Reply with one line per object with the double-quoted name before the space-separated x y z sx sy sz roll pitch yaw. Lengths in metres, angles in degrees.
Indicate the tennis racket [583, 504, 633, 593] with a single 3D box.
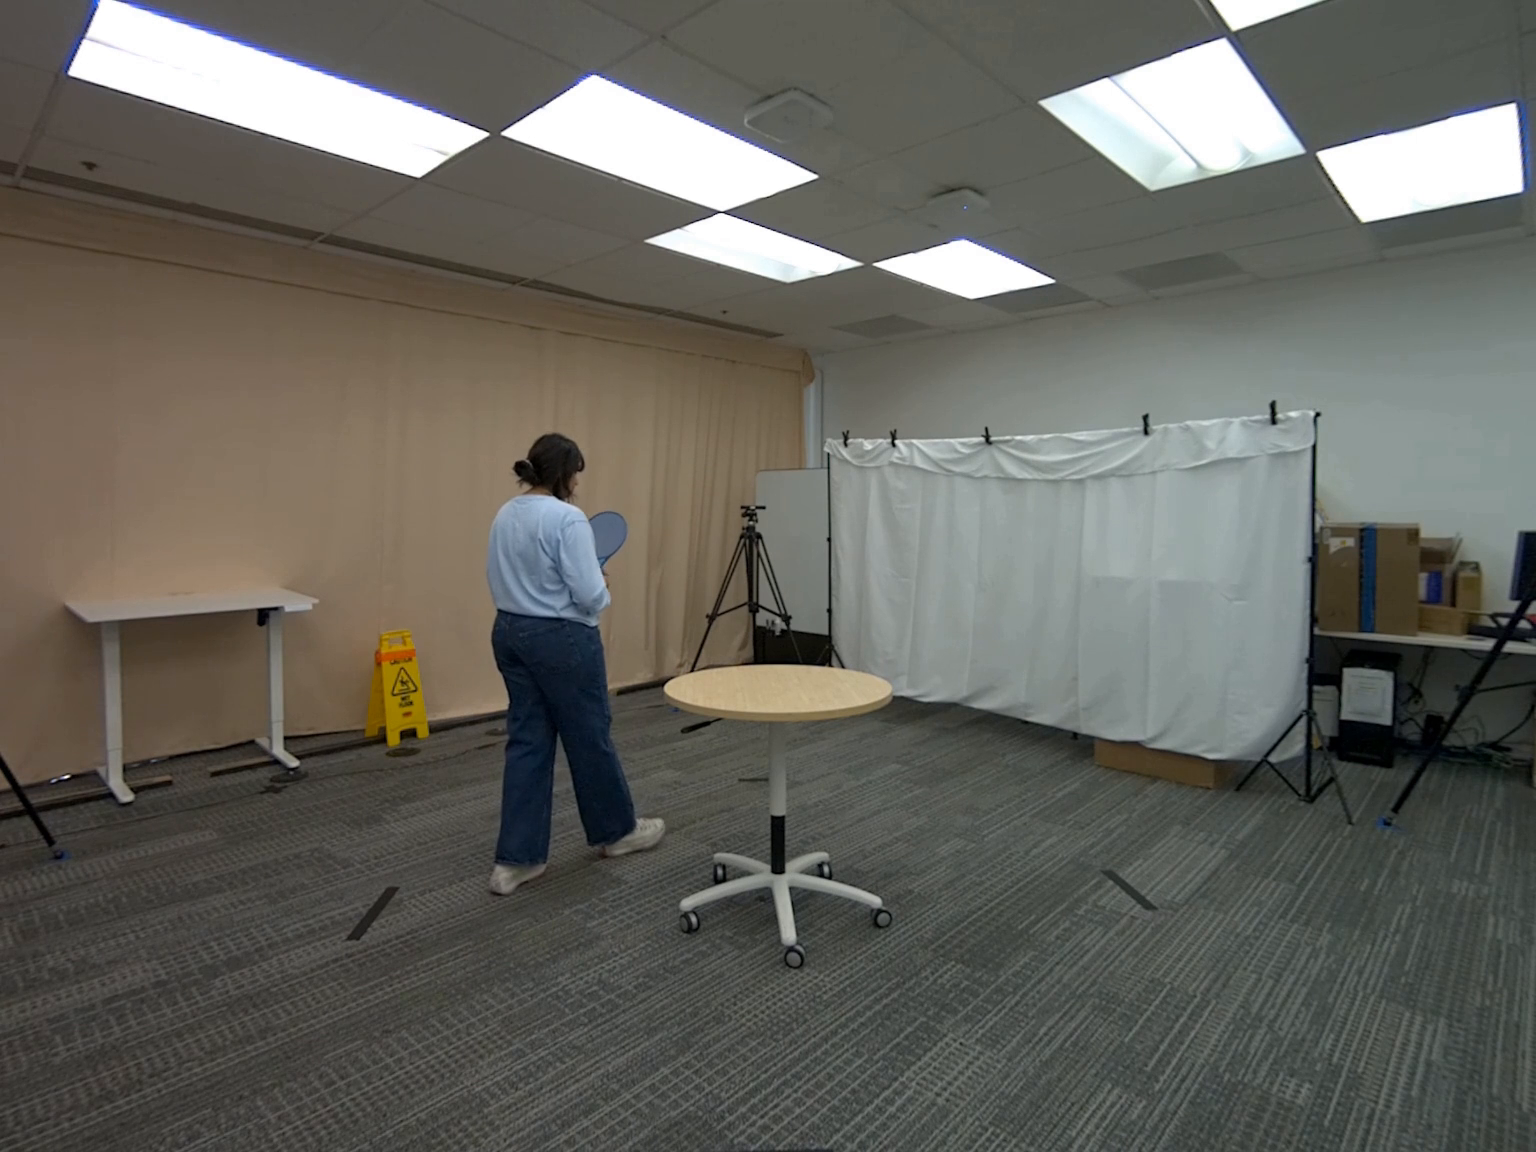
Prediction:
"tennis racket" -0.685 -0.111 3.459 0.216 0.440 0.031 -8 -40 10
